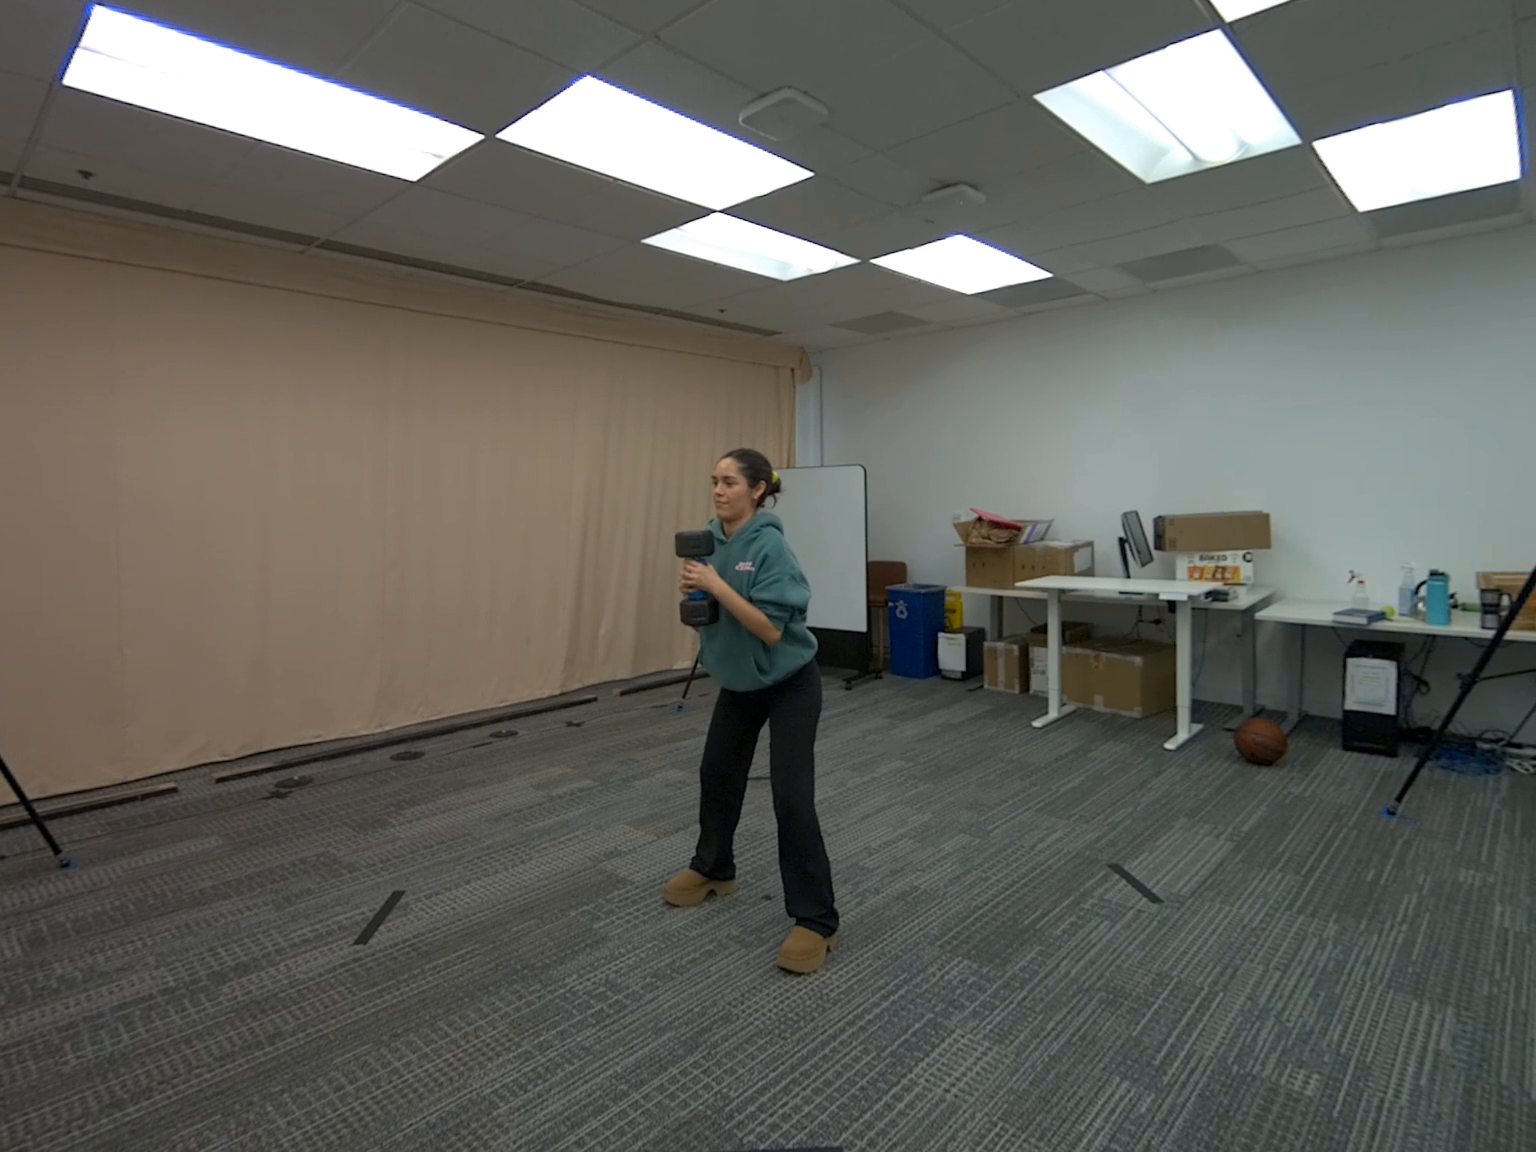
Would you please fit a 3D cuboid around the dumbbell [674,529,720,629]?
[{"bbox_3d":[-0.216,0.017,2.641,0.123,0.293,0.109,-4,2,-2],"label":"dumbbell"}]
